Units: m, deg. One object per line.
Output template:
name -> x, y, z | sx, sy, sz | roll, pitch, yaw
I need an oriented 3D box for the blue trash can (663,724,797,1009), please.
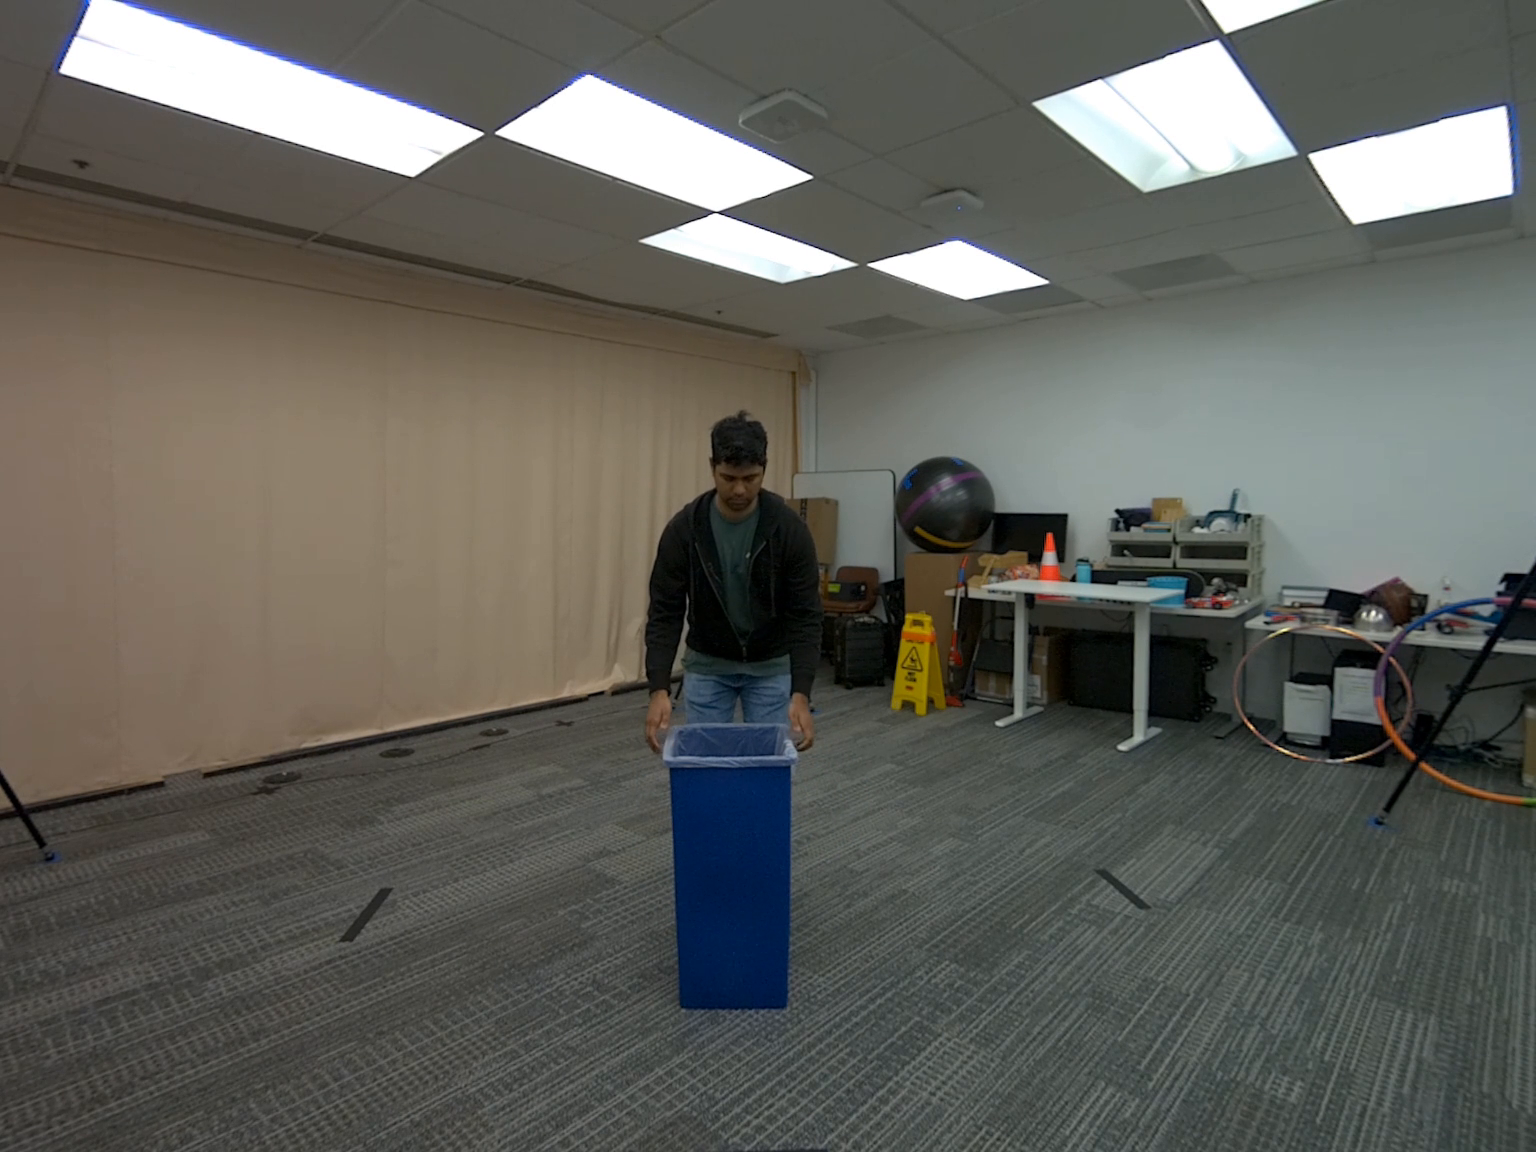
blue trash can -> -0.110, 0.833, 2.462 | 0.374, 0.712, 0.379 | 0, 2, -1
